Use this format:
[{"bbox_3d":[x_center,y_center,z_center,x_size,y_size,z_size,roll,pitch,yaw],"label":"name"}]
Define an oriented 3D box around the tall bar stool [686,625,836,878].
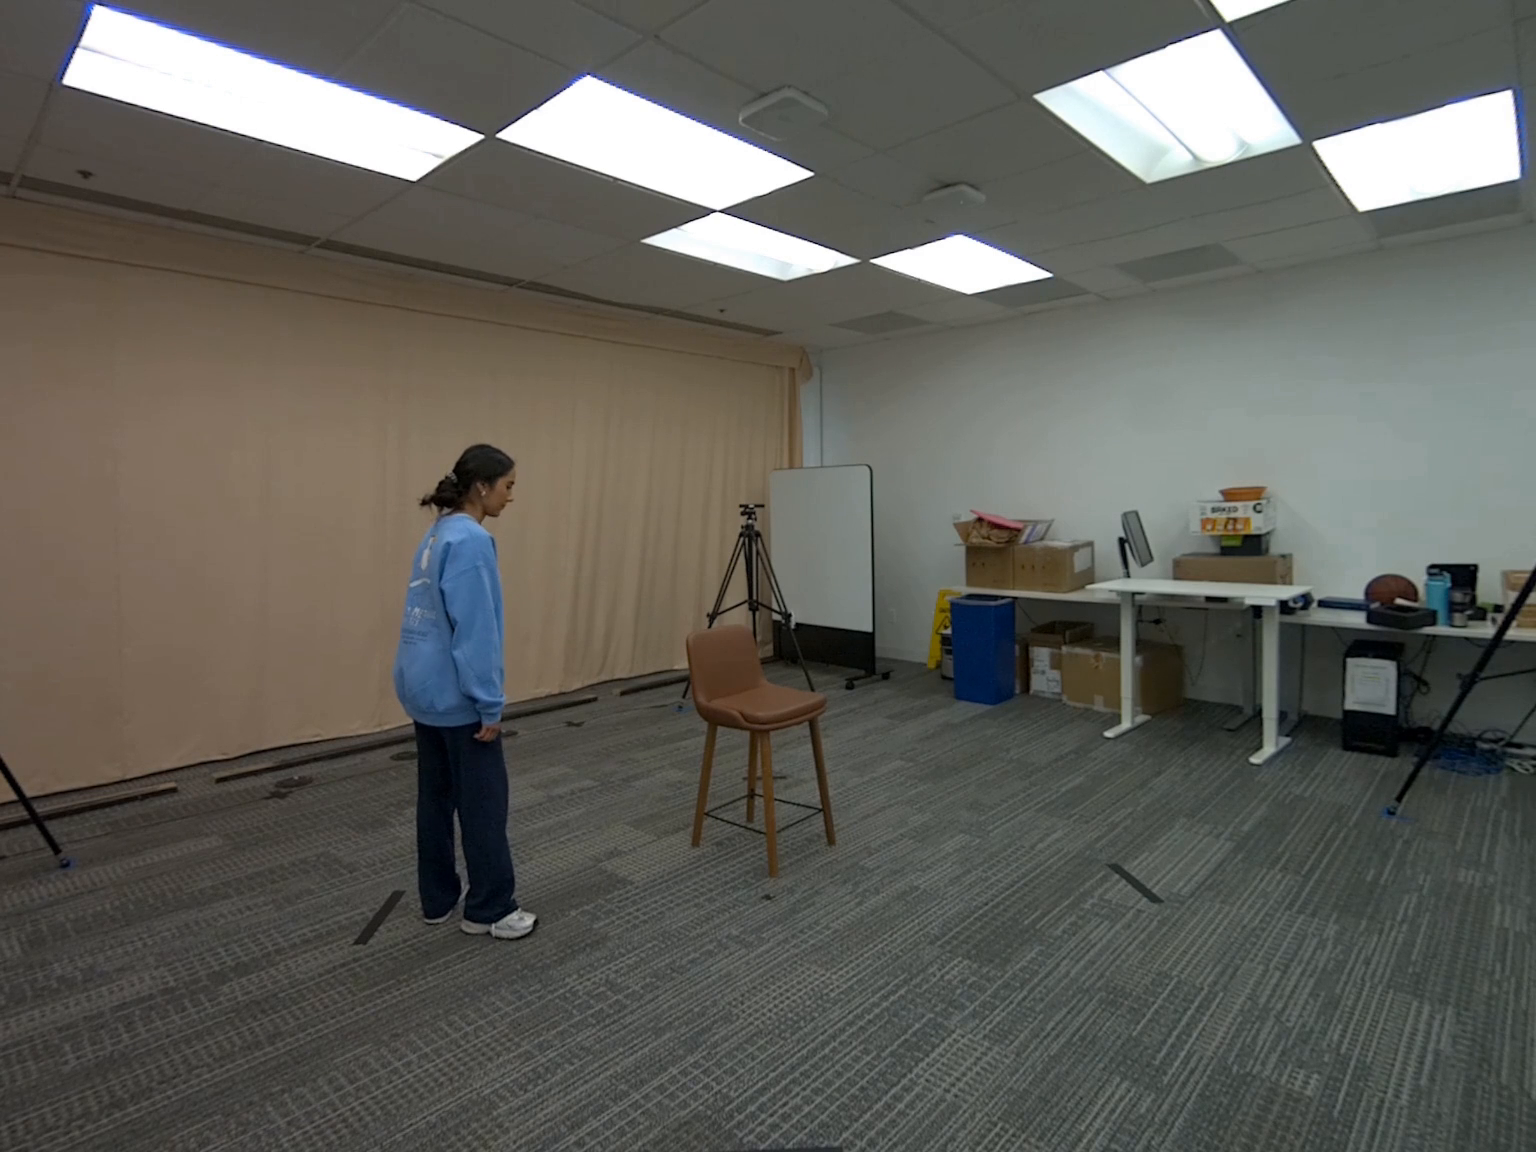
[{"bbox_3d":[-0.034,0.666,3.420,0.482,0.889,0.443,-1,2,41],"label":"tall bar stool"}]
